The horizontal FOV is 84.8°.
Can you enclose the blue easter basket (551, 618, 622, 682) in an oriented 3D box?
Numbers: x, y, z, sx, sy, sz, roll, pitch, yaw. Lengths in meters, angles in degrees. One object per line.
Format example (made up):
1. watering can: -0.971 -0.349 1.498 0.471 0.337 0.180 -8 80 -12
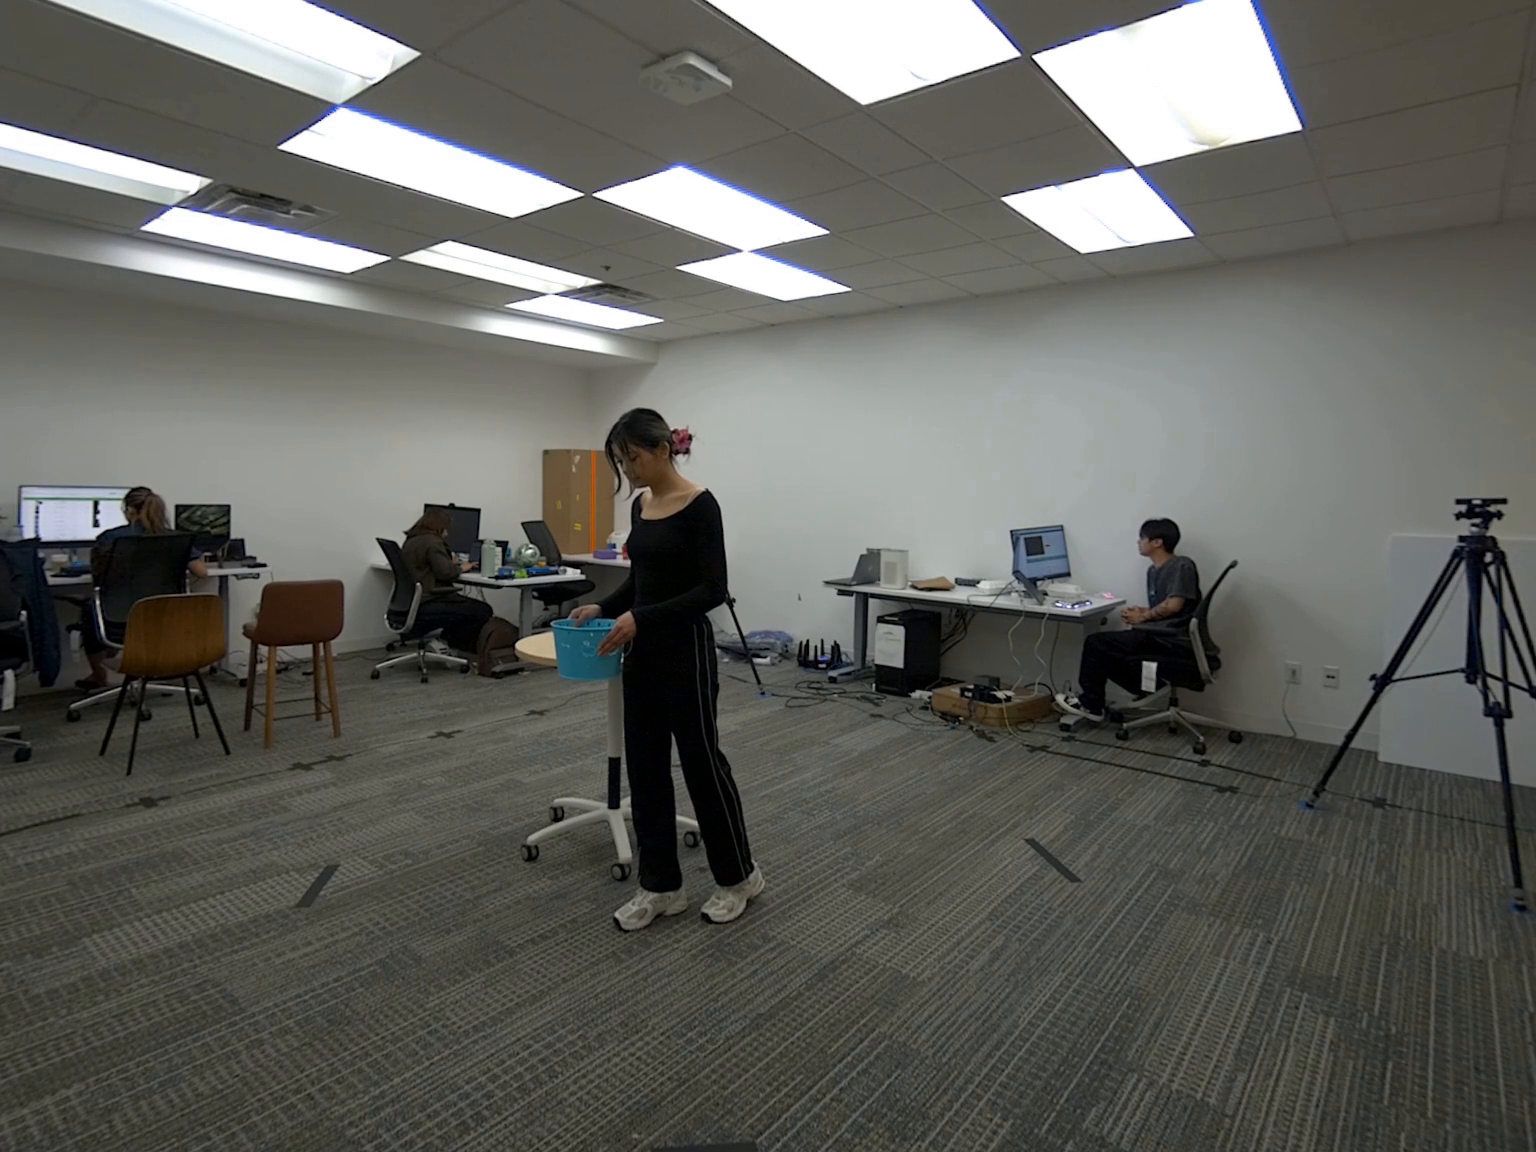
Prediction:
1. blue easter basket: -0.531 0.219 2.543 0.243 0.155 0.245 1 5 -2
